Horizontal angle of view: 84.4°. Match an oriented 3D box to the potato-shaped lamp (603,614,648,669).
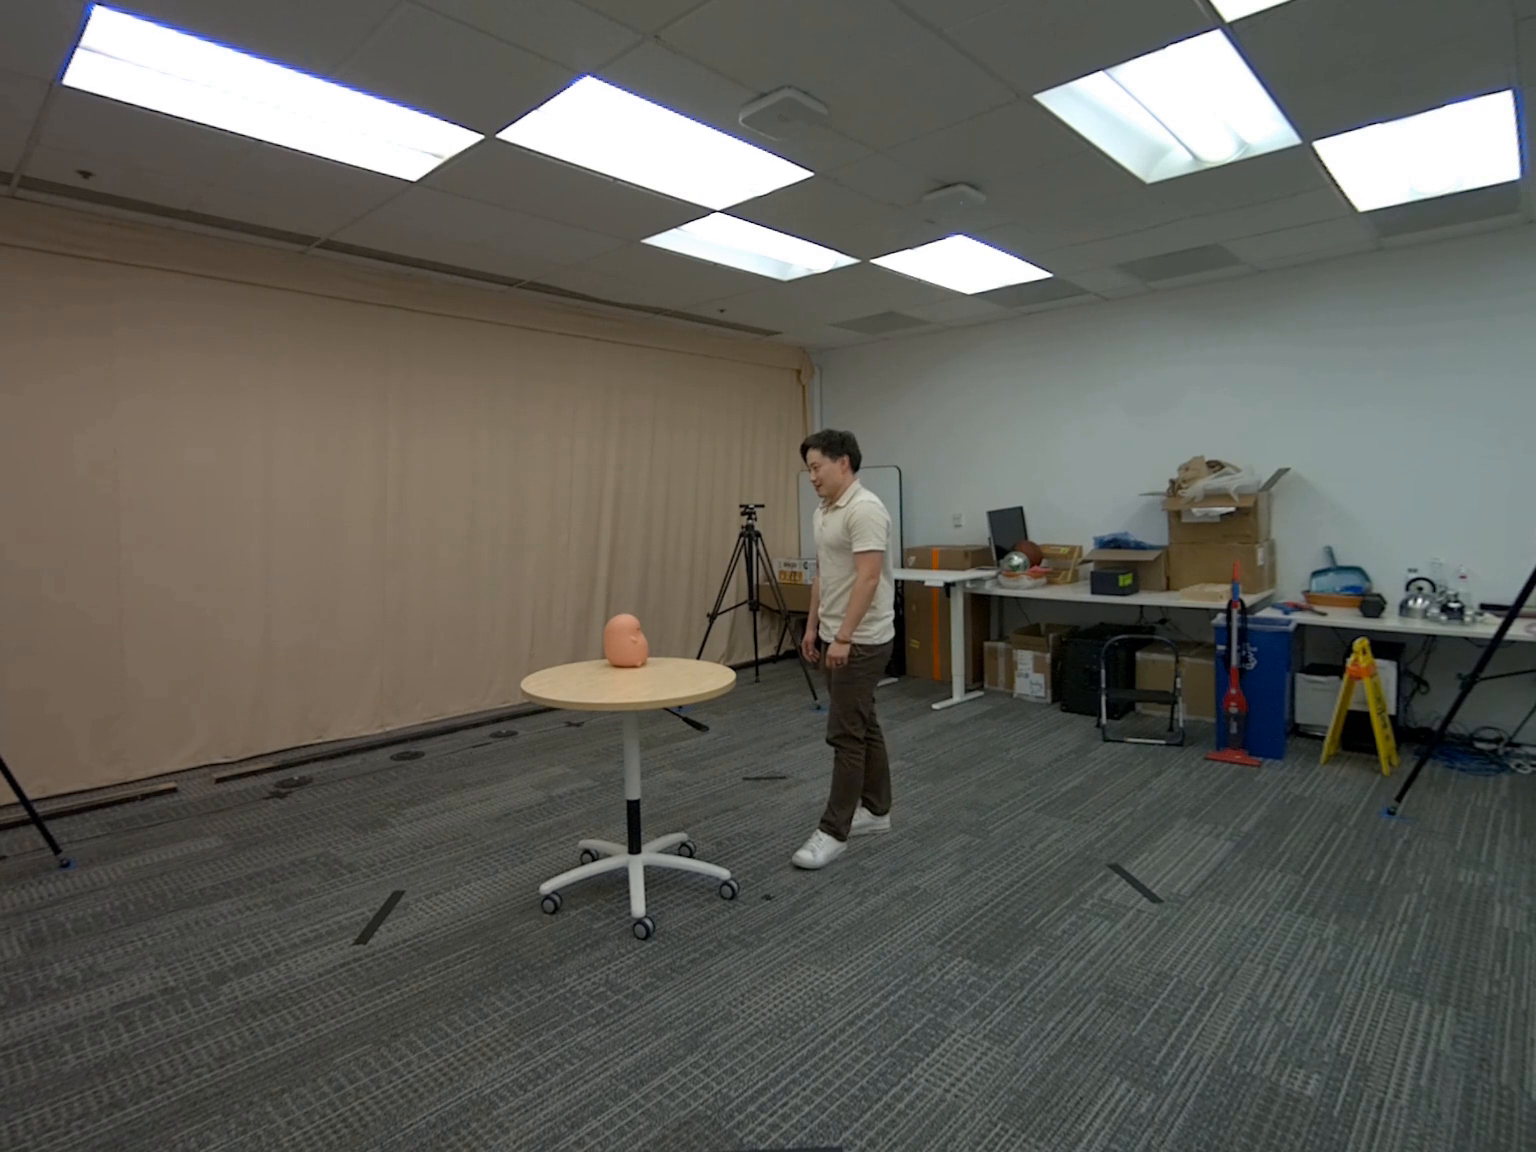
[{"bbox_3d":[-0.551,0.247,3.253,0.172,0.198,0.163,-2,-1,5],"label":"potato-shaped lamp"}]
